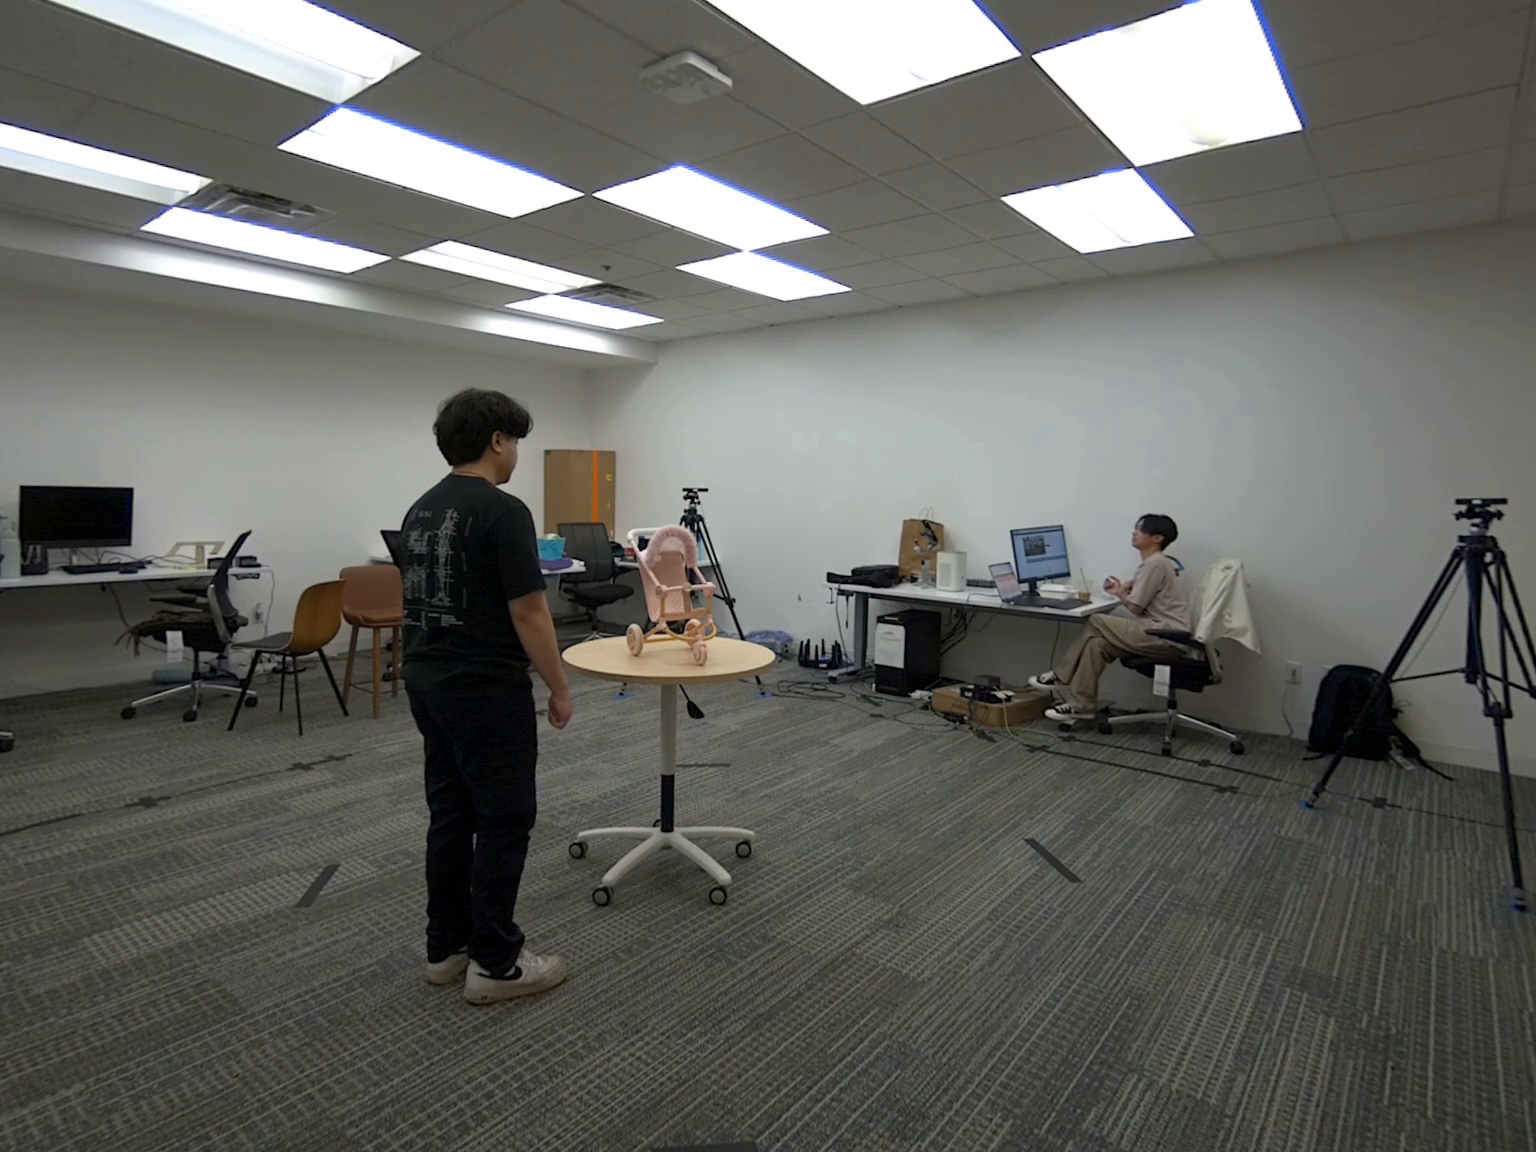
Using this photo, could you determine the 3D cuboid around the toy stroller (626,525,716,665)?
[{"bbox_3d":[-0.343,0.056,3.028,0.274,0.540,0.347,-2,-10,-29],"label":"toy stroller"}]
